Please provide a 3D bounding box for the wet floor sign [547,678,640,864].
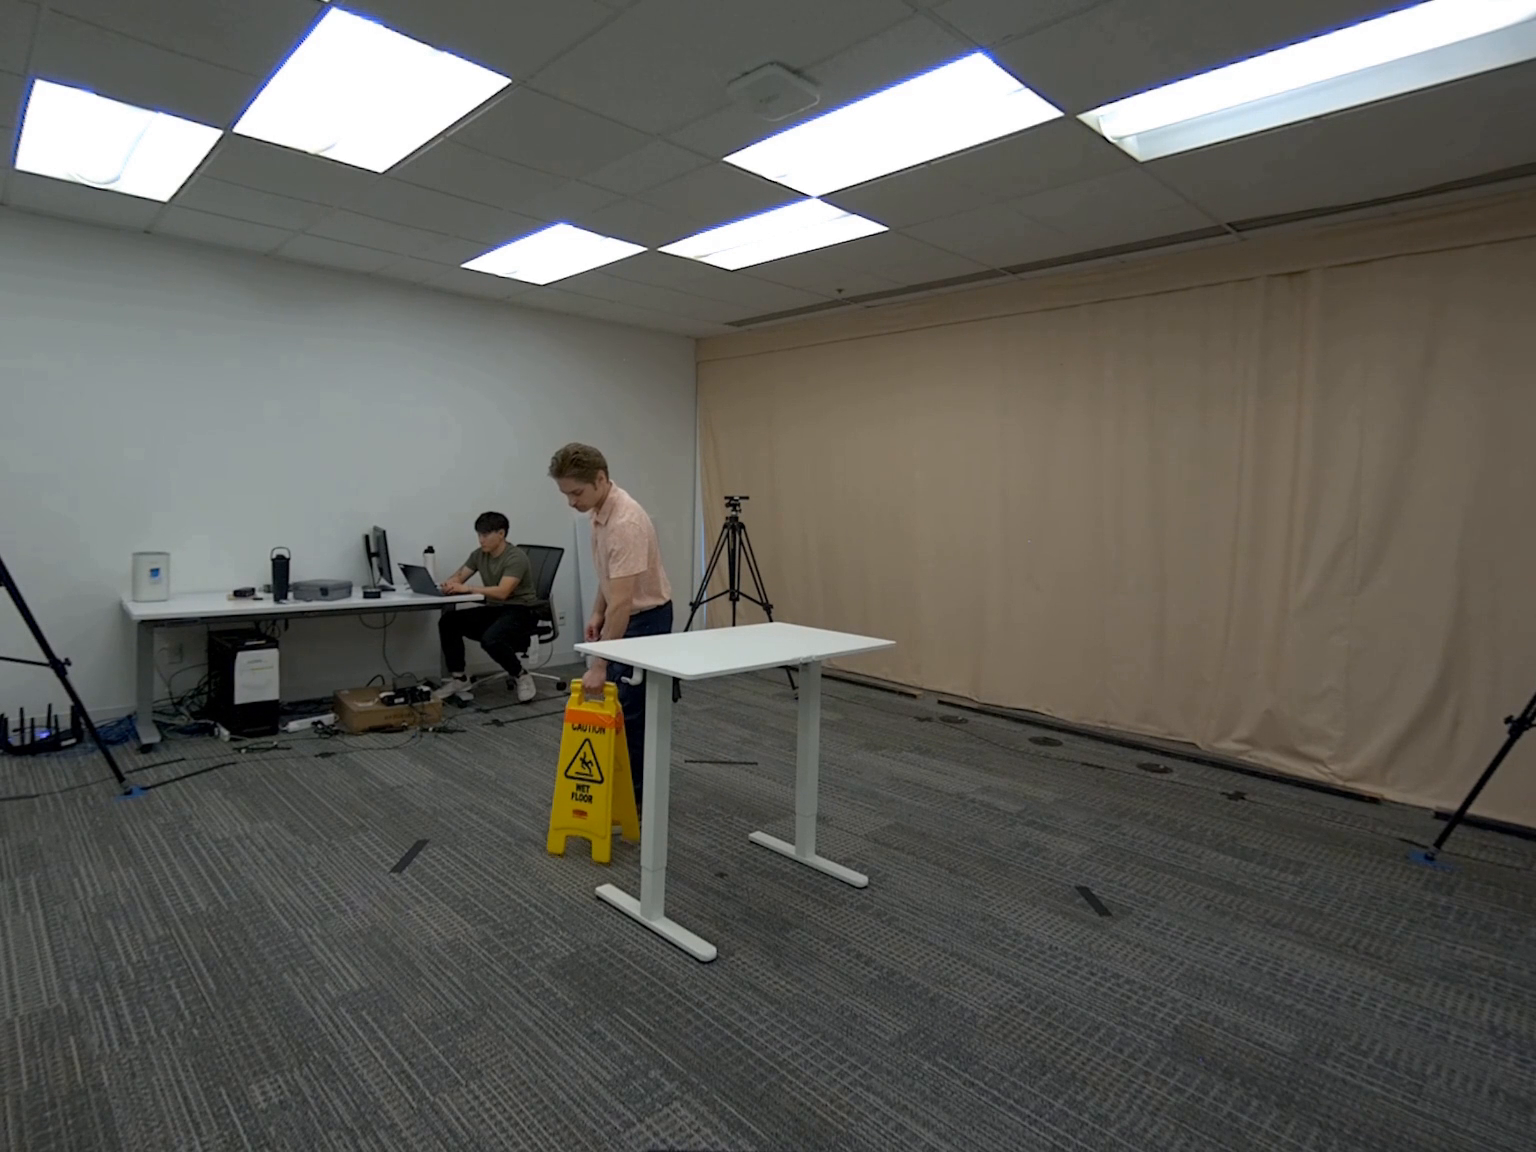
[{"bbox_3d":[-0.688,0.732,3.286,0.286,0.644,0.286,5,5,18],"label":"wet floor sign"}]
